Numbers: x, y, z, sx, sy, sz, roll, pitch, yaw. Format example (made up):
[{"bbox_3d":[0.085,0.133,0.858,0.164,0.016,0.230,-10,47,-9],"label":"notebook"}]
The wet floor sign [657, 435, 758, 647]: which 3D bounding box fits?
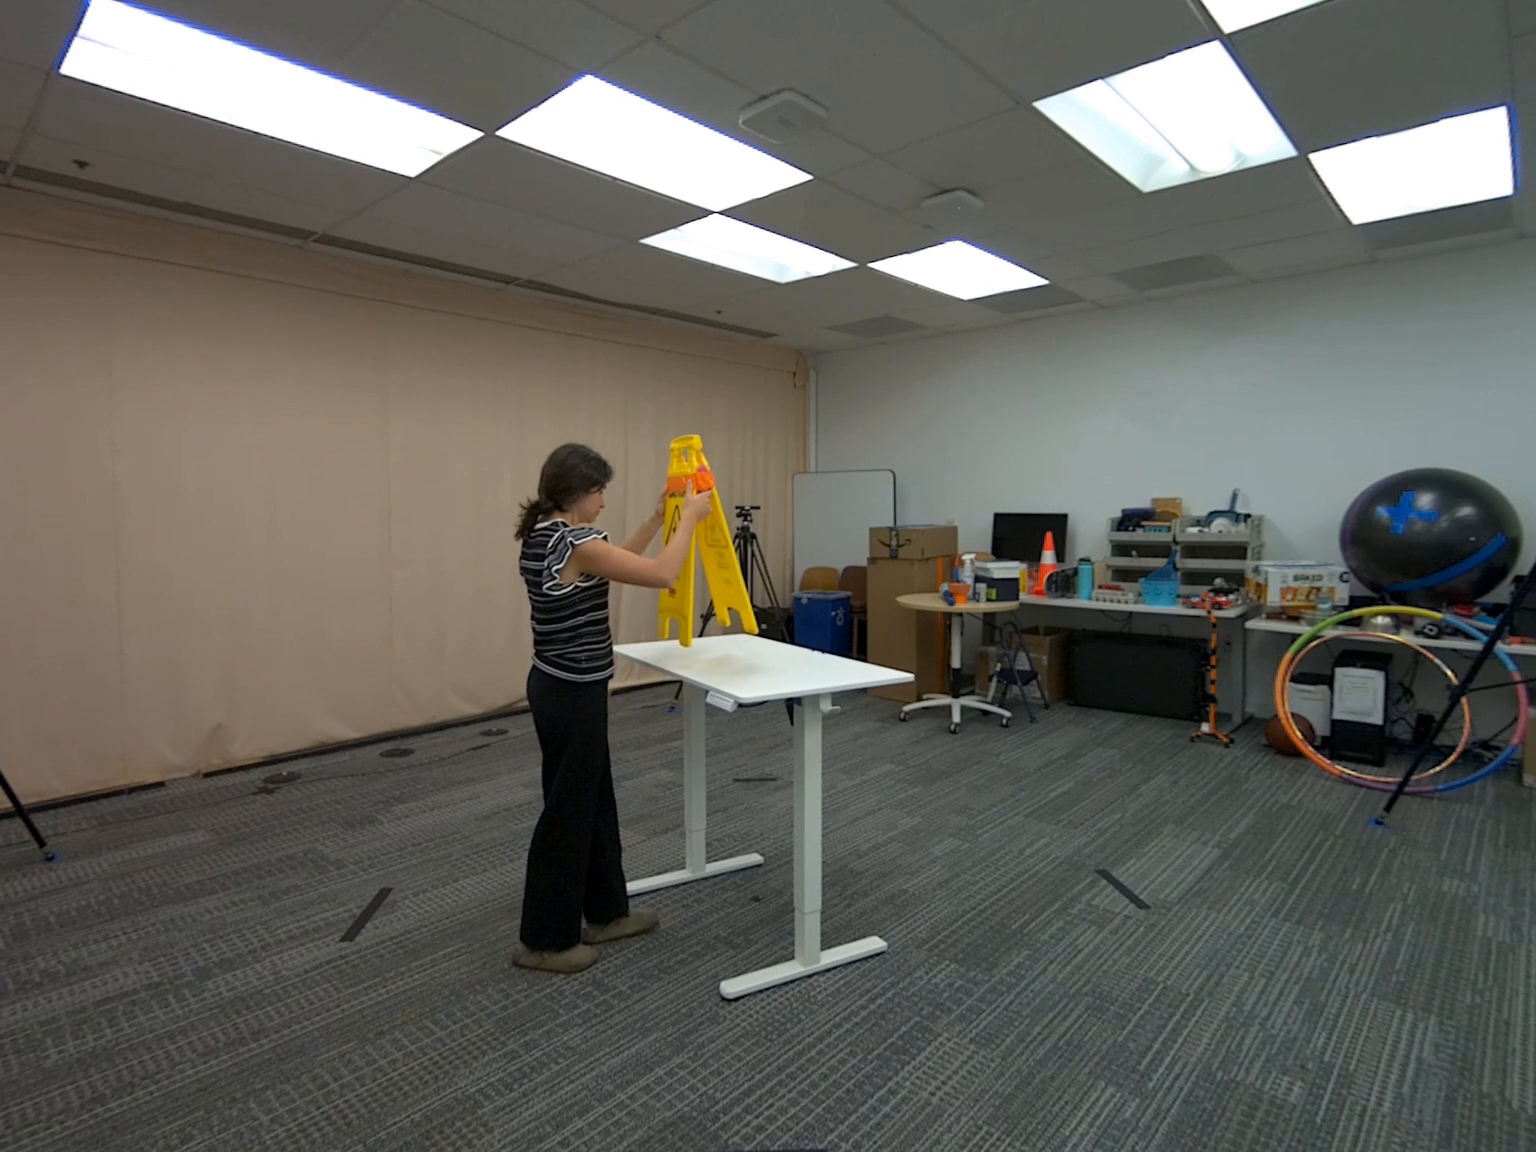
[{"bbox_3d":[-0.233,-0.124,2.731,0.283,0.643,0.289,-8,6,-25],"label":"wet floor sign"}]
